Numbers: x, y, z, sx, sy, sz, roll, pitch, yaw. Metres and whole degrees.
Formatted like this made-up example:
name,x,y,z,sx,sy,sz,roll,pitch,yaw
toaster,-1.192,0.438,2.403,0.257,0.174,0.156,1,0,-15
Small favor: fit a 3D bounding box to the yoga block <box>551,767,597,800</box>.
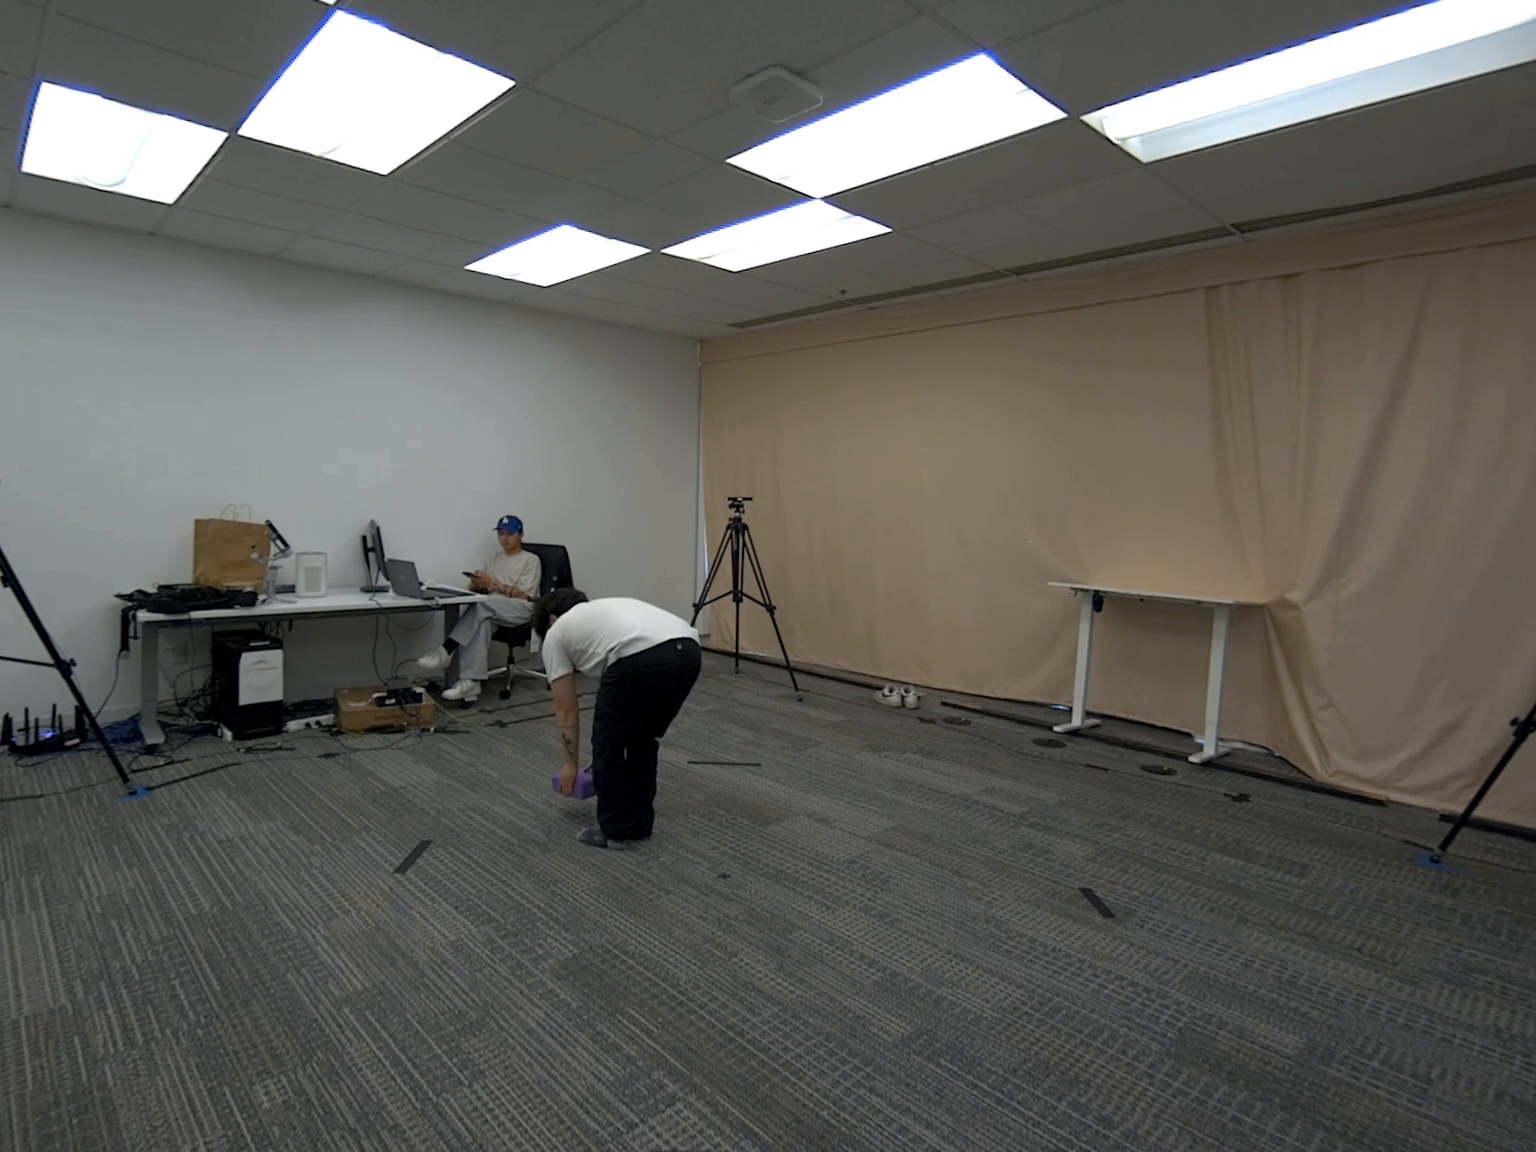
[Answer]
name,x,y,z,sx,sy,sz,roll,pitch,yaw
yoga block,-0.823,0.888,3.645,0.235,0.076,0.146,0,5,42
